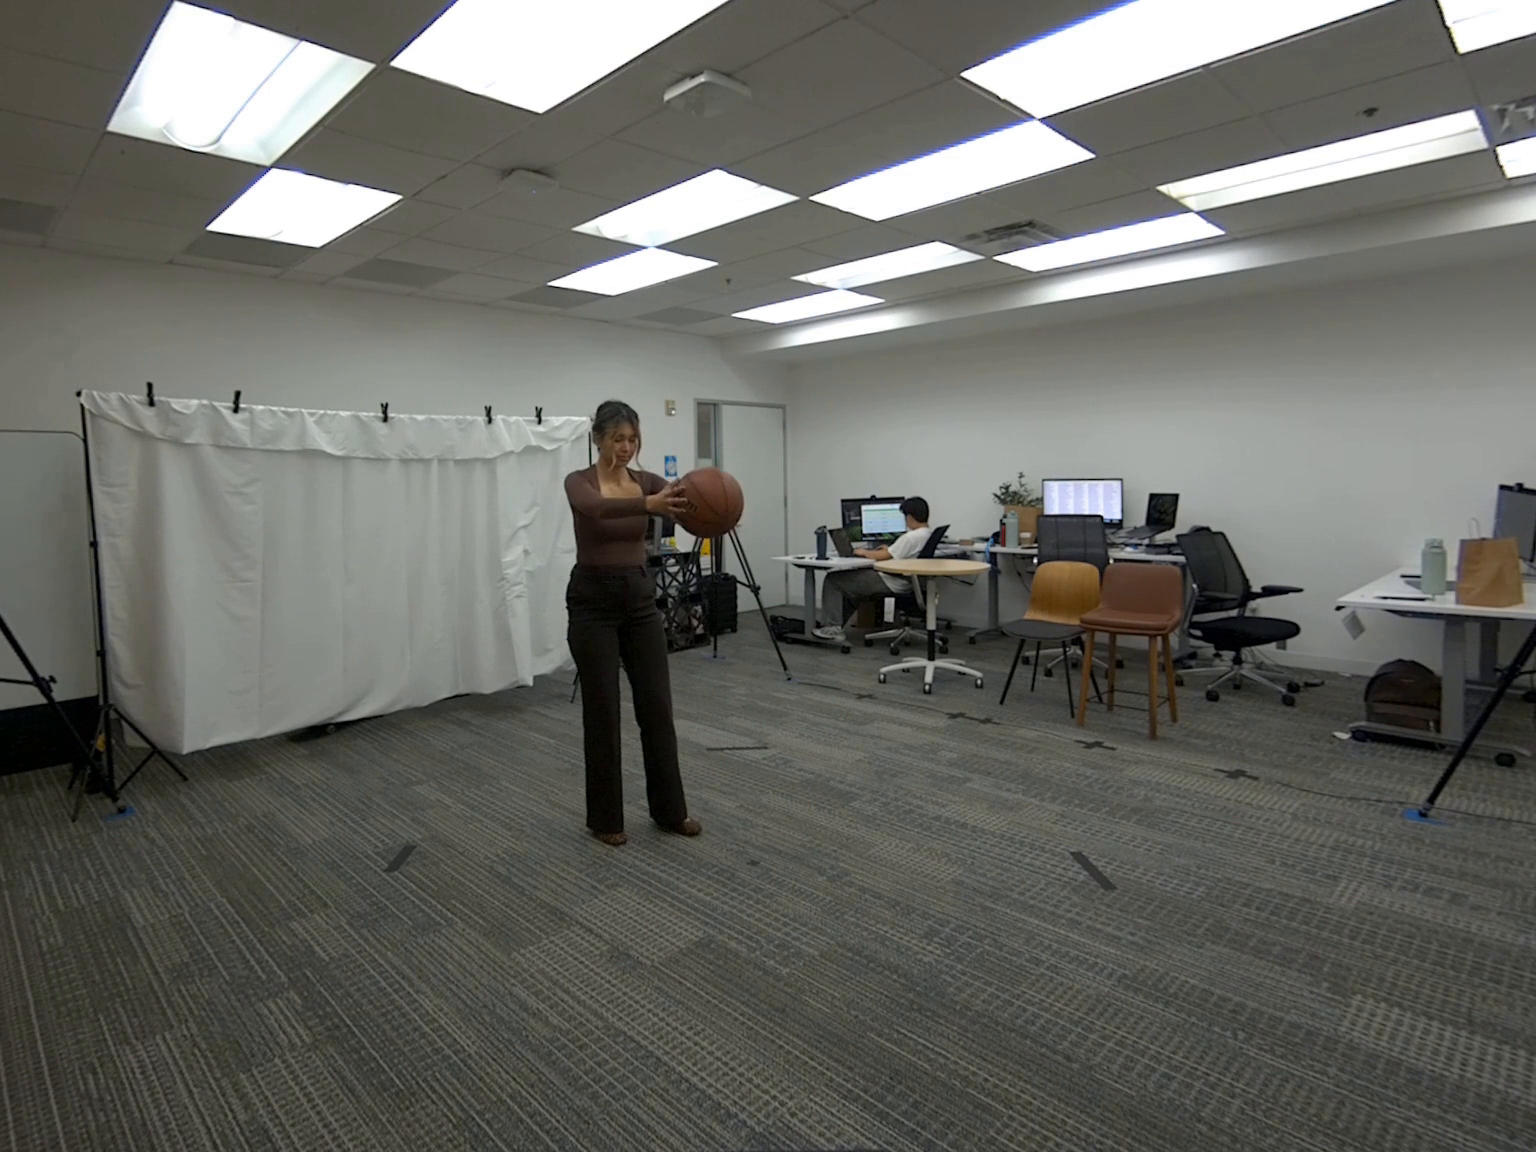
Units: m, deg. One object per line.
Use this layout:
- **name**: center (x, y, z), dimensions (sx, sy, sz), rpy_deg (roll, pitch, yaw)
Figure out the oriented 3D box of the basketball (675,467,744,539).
- **basketball**: center (-0.189, -0.241, 2.830), dimensions (0.236, 0.235, 0.237), rpy_deg (-1, 5, -2)
